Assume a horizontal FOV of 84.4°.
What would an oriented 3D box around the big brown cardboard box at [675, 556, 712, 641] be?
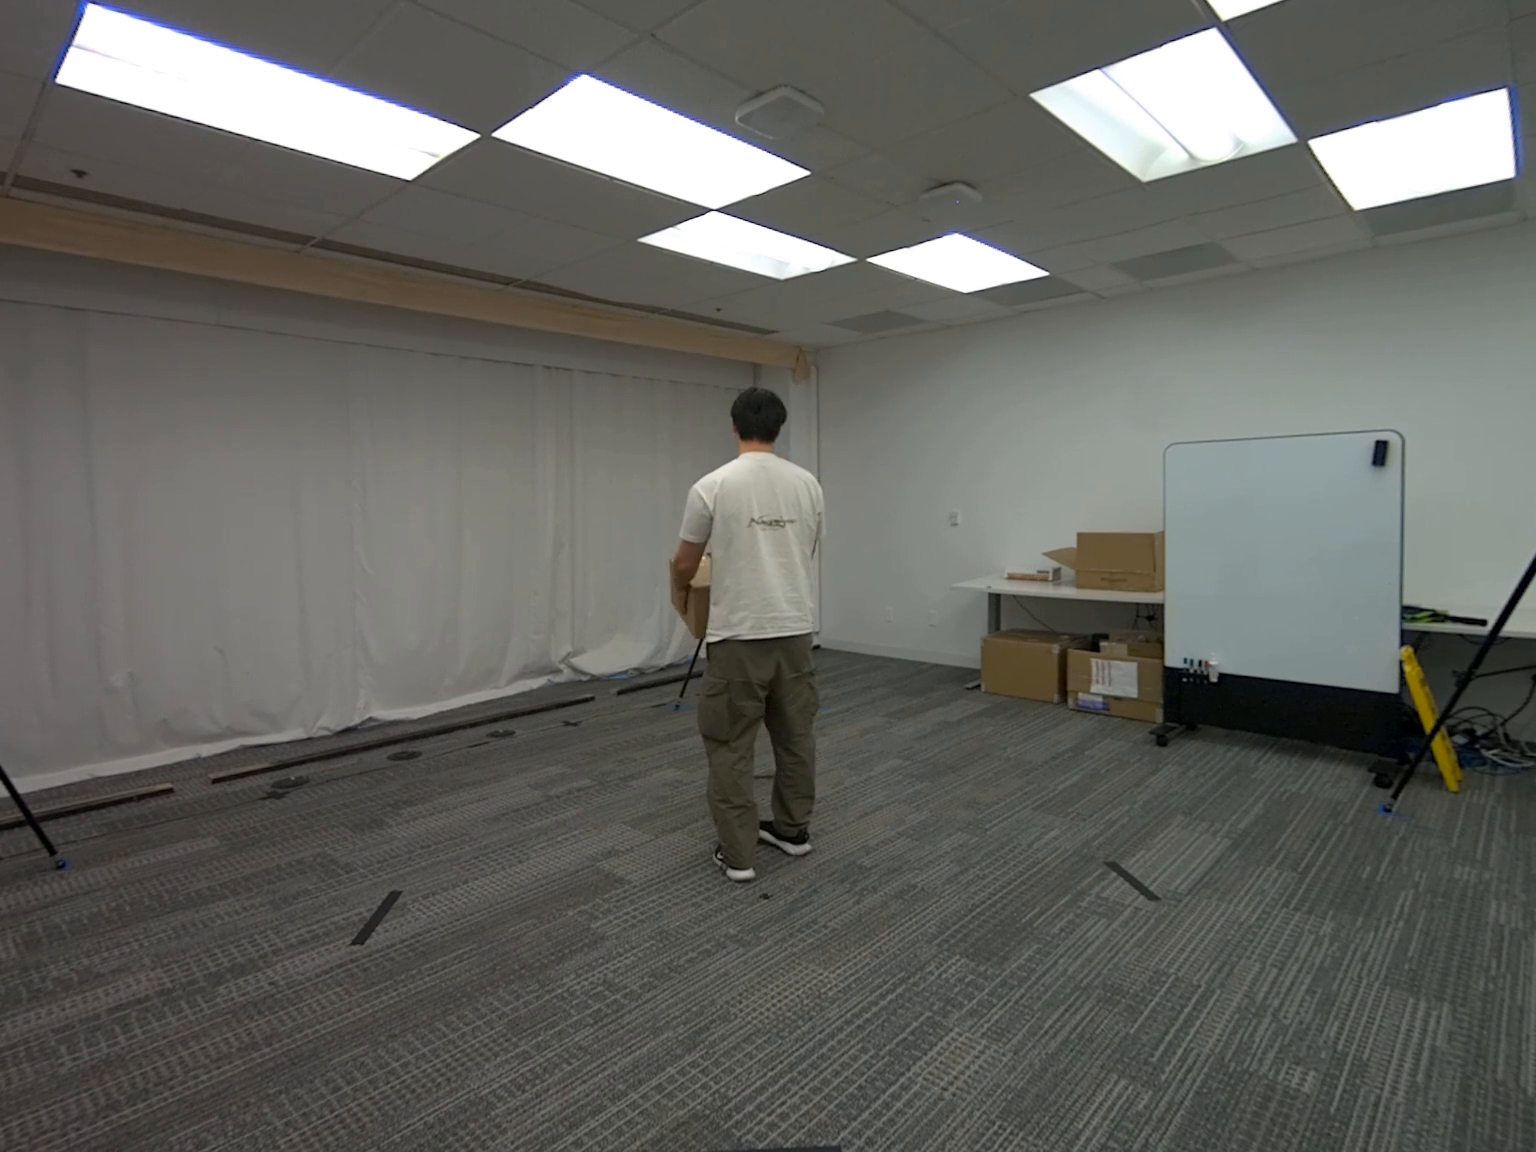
[{"bbox_3d":[-0.170,0.066,3.637,0.411,0.231,0.603,-5,15,-16],"label":"big brown cardboard box"}]
